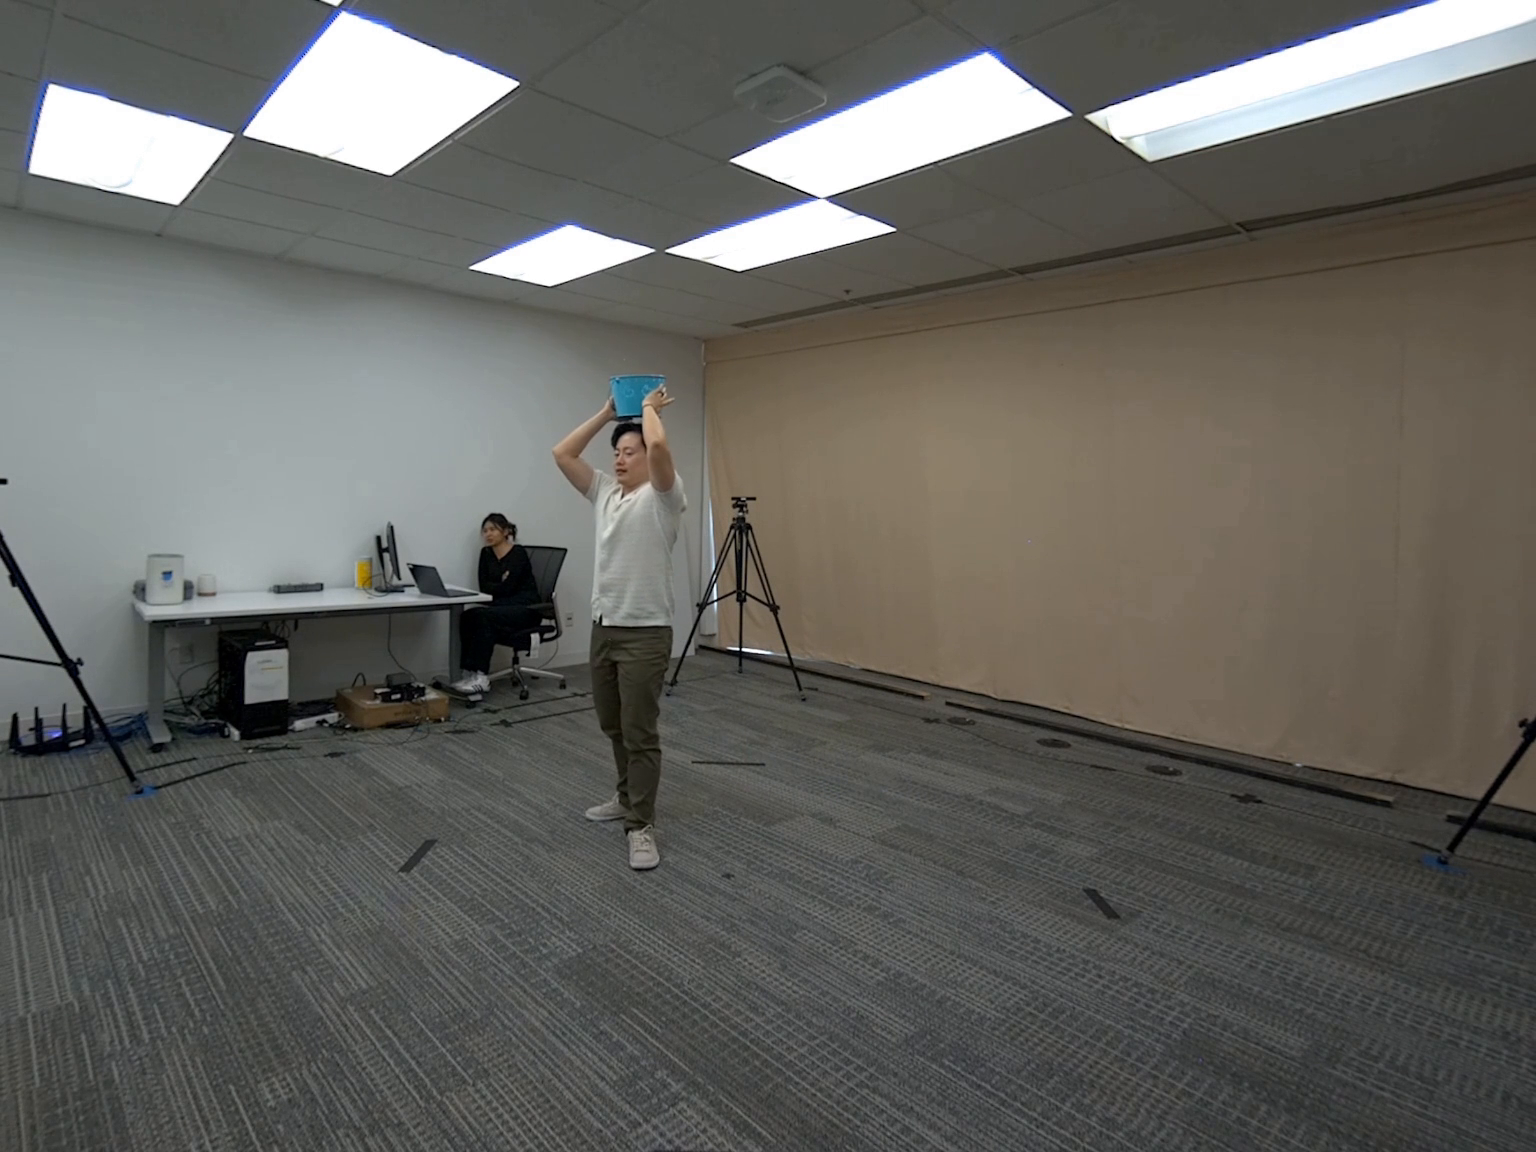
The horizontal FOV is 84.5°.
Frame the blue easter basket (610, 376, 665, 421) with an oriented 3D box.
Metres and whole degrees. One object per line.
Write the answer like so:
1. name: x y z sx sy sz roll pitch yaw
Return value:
1. blue easter basket: -0.545 -0.731 3.418 0.243 0.155 0.244 -1 5 -1
